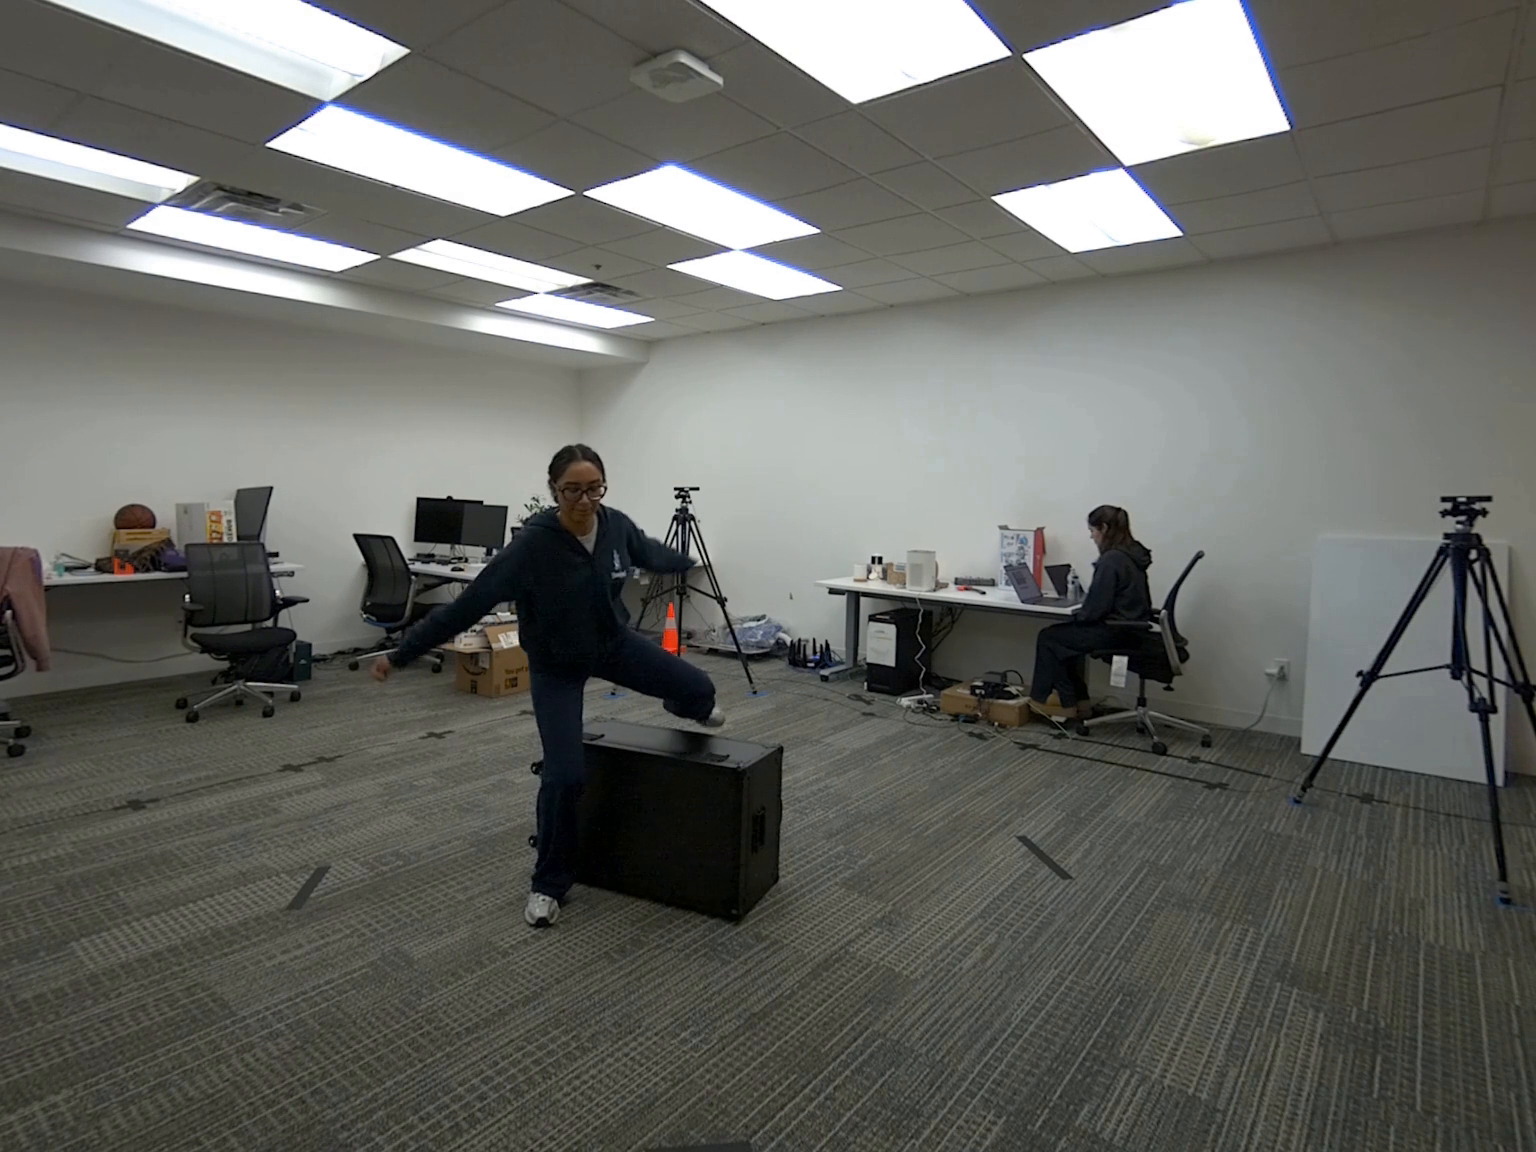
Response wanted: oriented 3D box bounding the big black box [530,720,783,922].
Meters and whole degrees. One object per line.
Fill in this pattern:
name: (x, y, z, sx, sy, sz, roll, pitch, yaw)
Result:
big black box: (-0.409, 0.813, 3.048, 0.883, 0.521, 0.387, 3, 2, 24)
